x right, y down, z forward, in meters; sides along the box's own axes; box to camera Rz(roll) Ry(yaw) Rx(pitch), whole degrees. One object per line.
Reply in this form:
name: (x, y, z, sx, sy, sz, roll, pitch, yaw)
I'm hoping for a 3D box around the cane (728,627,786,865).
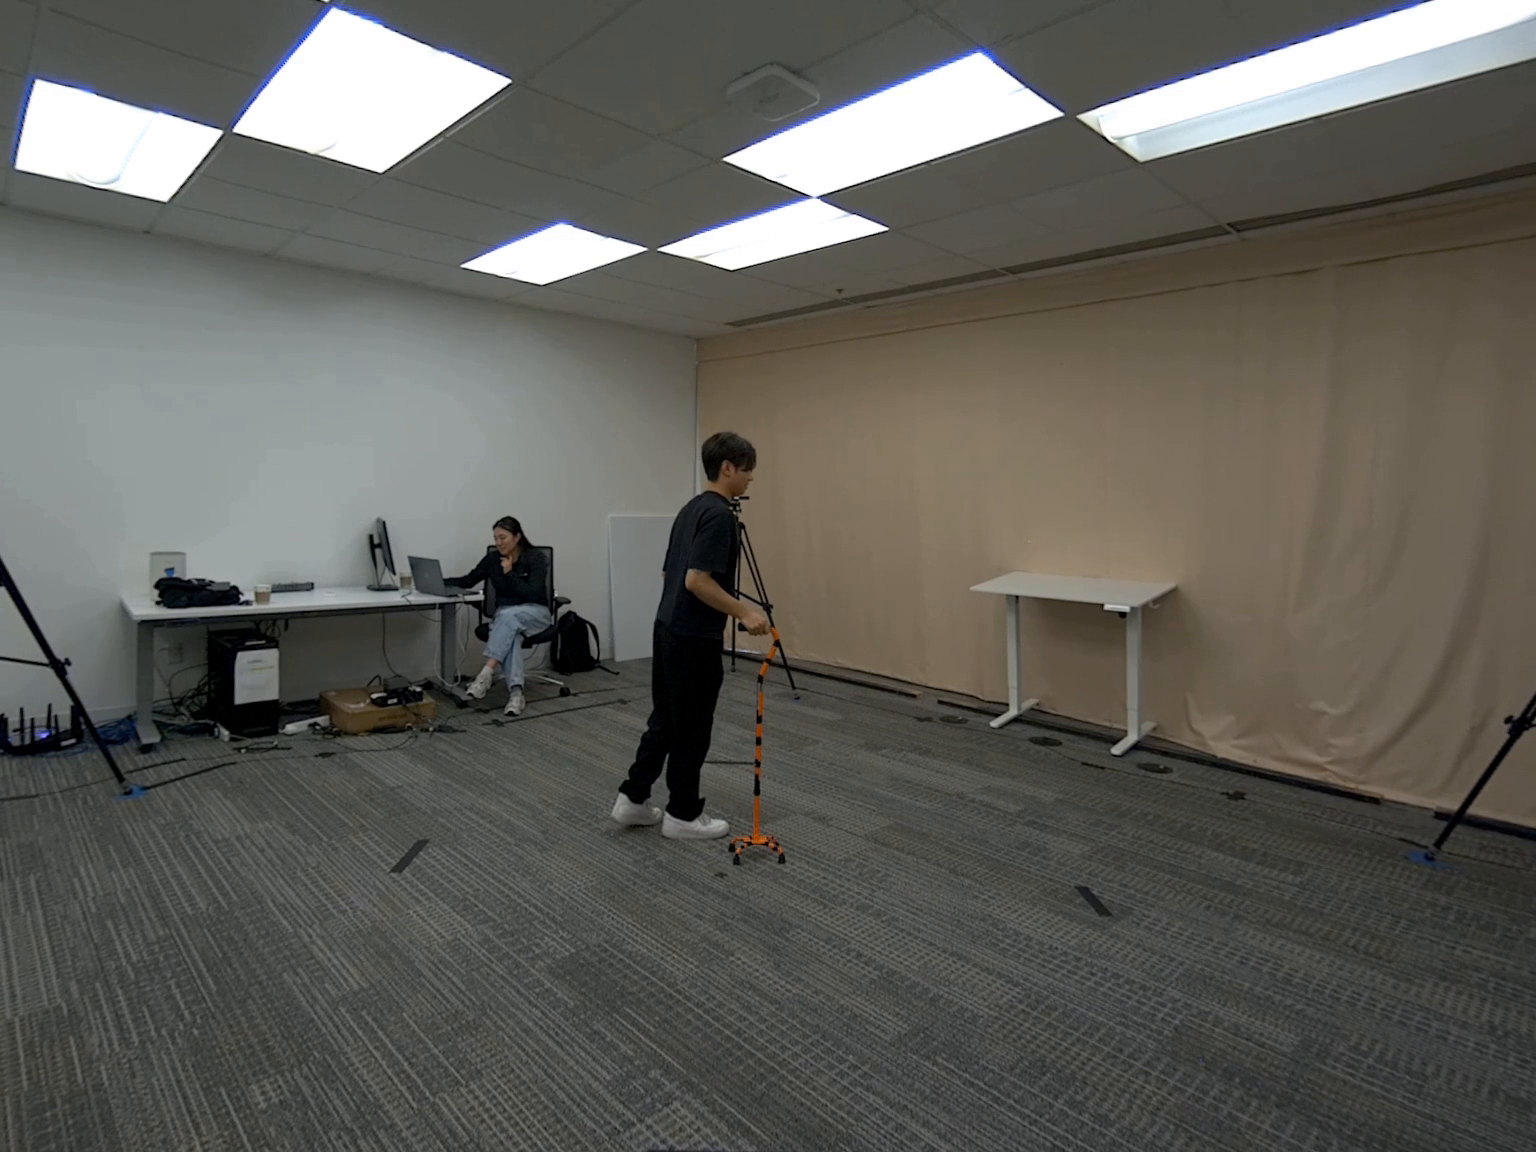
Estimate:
cane: (-0.035, 0.646, 3.254, 0.205, 0.907, 0.153, 2, 1, -11)
